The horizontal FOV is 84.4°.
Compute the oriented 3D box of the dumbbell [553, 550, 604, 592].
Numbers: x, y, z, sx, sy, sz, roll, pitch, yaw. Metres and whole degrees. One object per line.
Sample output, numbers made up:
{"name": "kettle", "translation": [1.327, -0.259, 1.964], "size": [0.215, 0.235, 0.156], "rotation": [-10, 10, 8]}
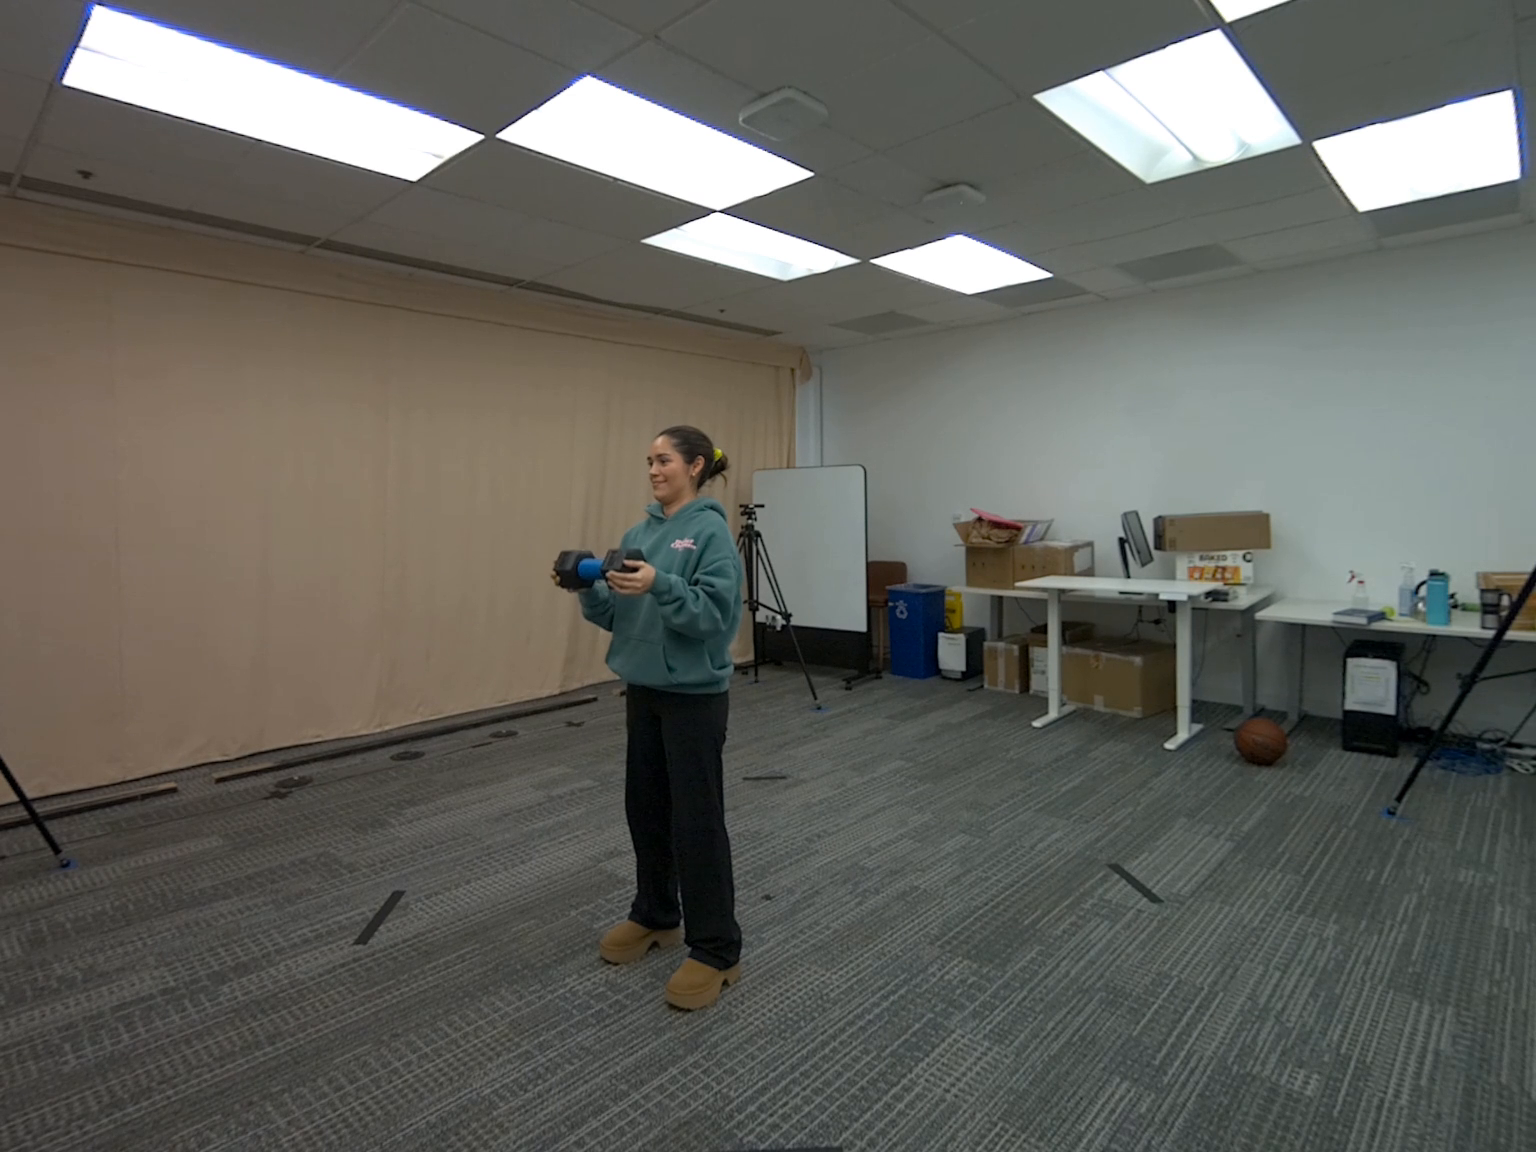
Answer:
{"name": "dumbbell", "translation": [-0.448, -0.011, 2.311], "size": [0.303, 0.108, 0.119], "rotation": [-1, 2, 42]}
